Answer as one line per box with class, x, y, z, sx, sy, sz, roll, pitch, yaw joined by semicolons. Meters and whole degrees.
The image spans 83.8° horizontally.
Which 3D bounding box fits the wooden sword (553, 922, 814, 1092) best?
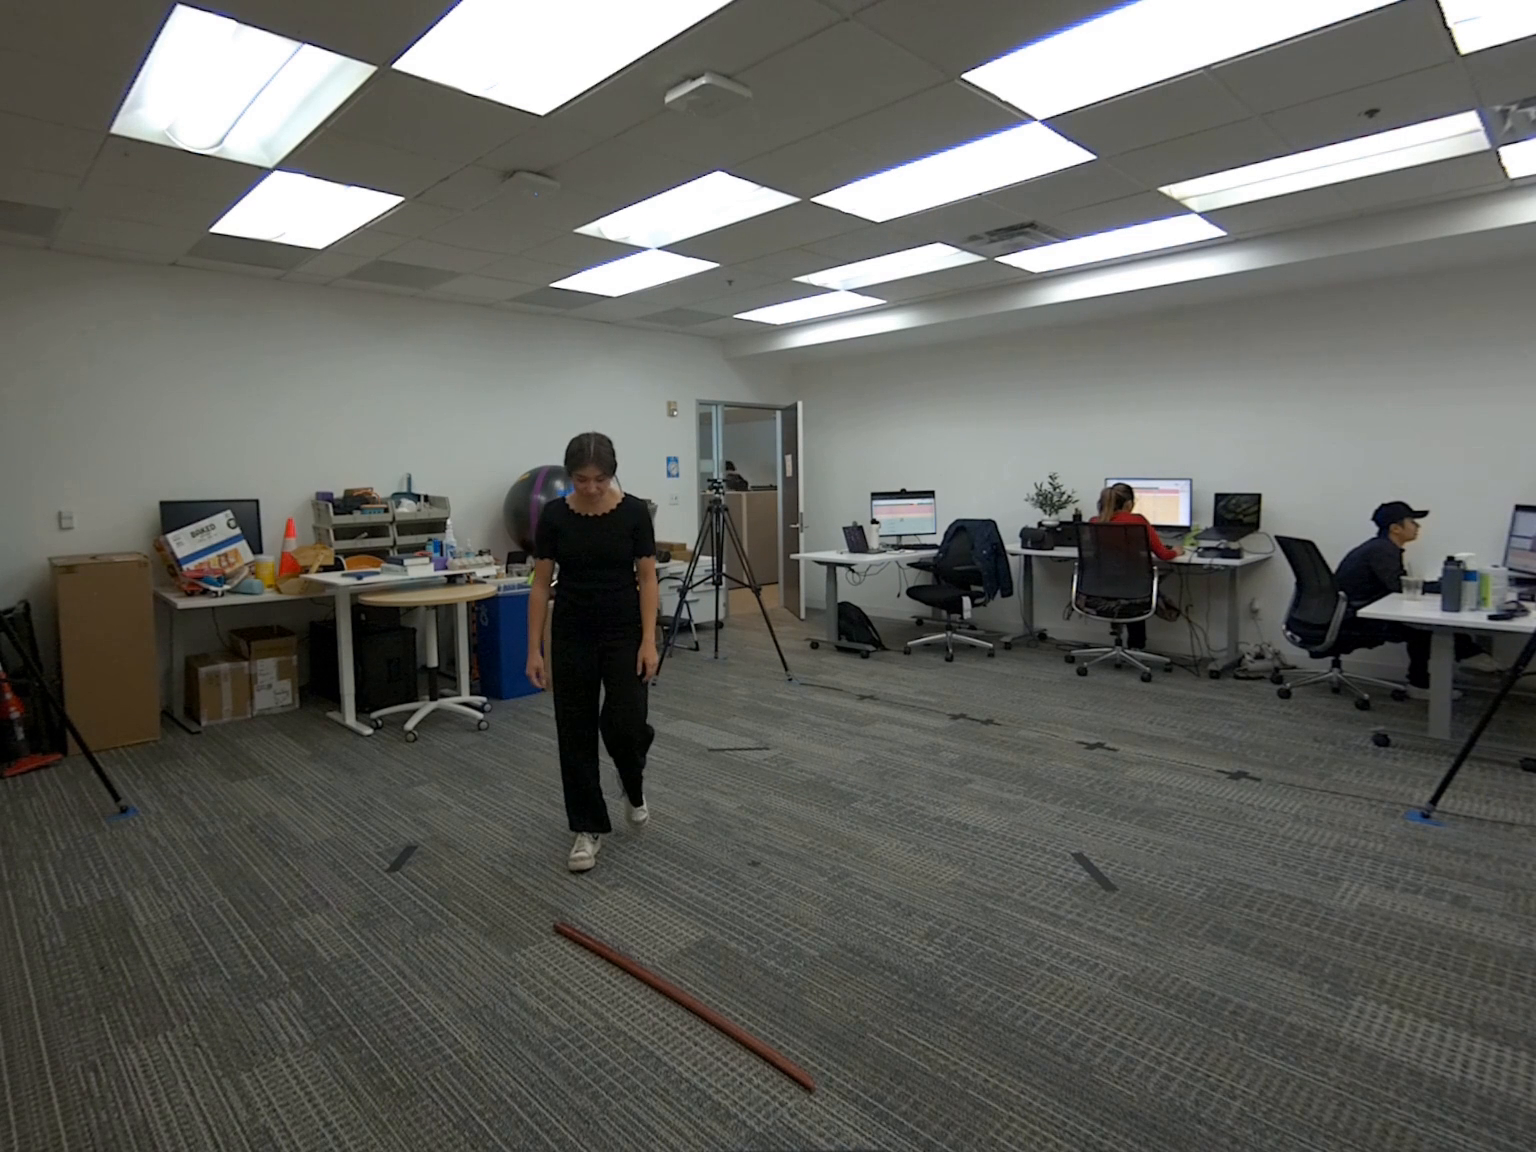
wooden sword;-0.256;1.116;2.328;1.056;0.024;0.049;5;-5;43
